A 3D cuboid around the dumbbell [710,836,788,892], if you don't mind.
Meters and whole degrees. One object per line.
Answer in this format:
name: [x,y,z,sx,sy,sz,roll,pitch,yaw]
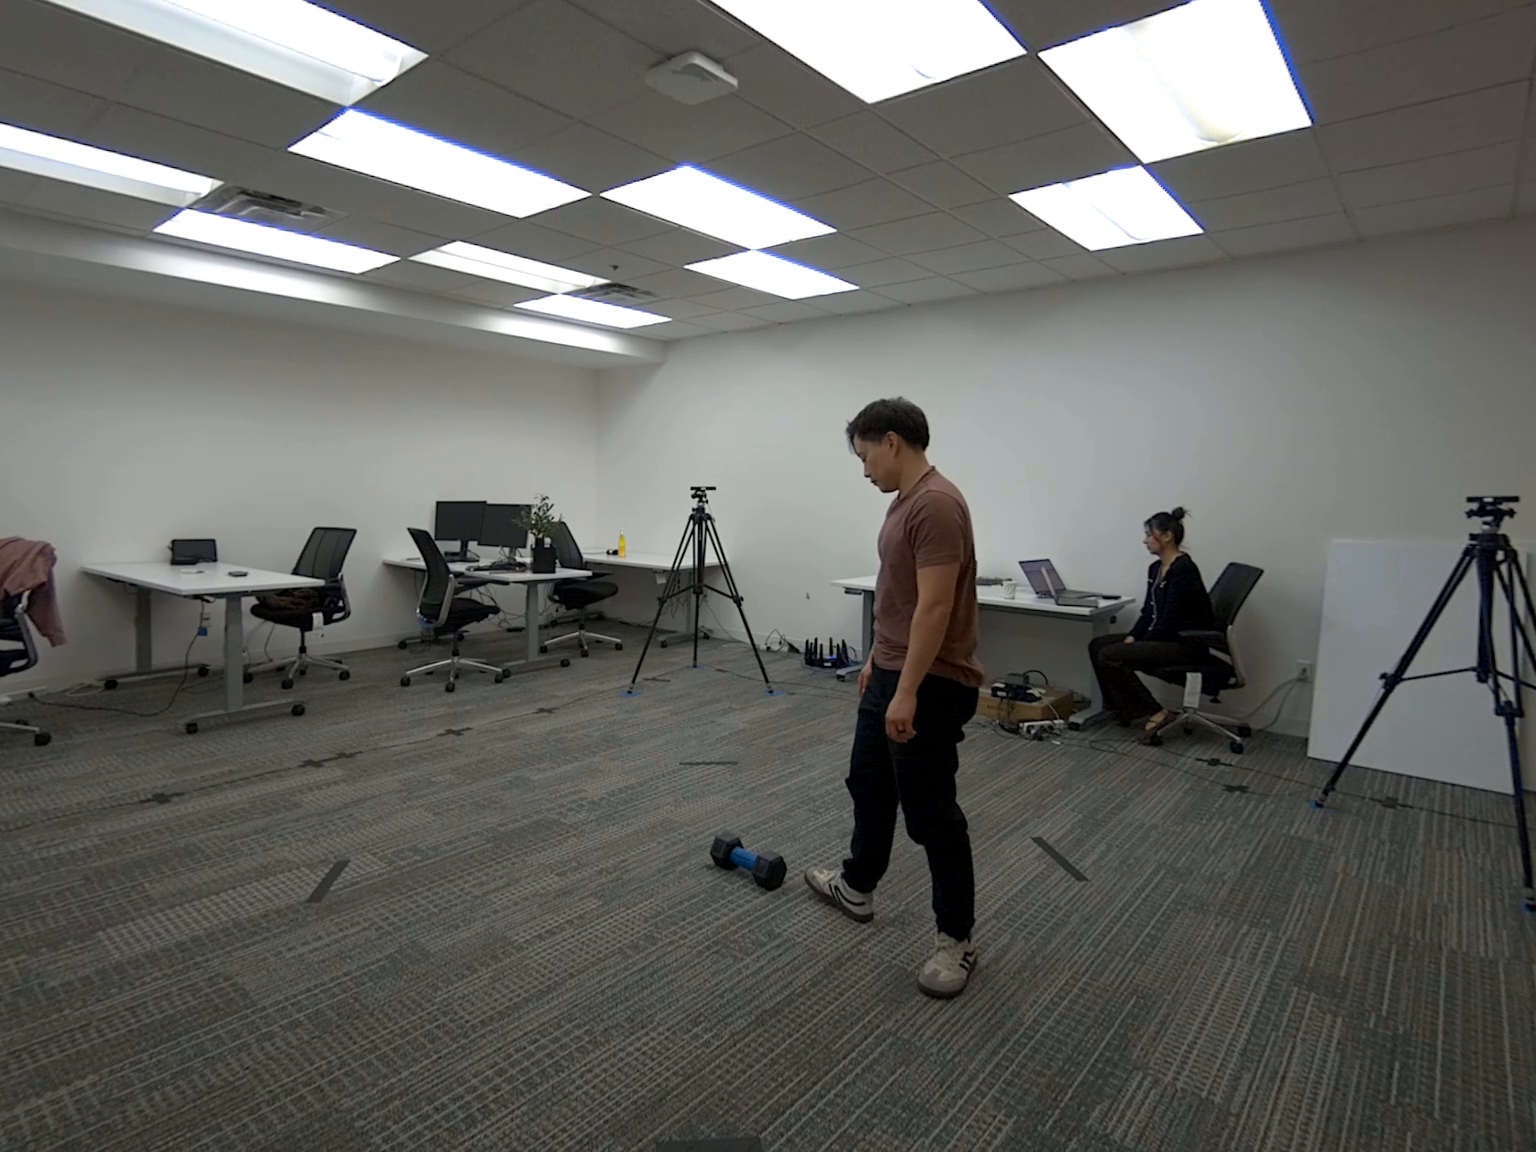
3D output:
dumbbell: [-0.082,1.017,3.053,0.304,0.124,0.104,5,-24,43]
